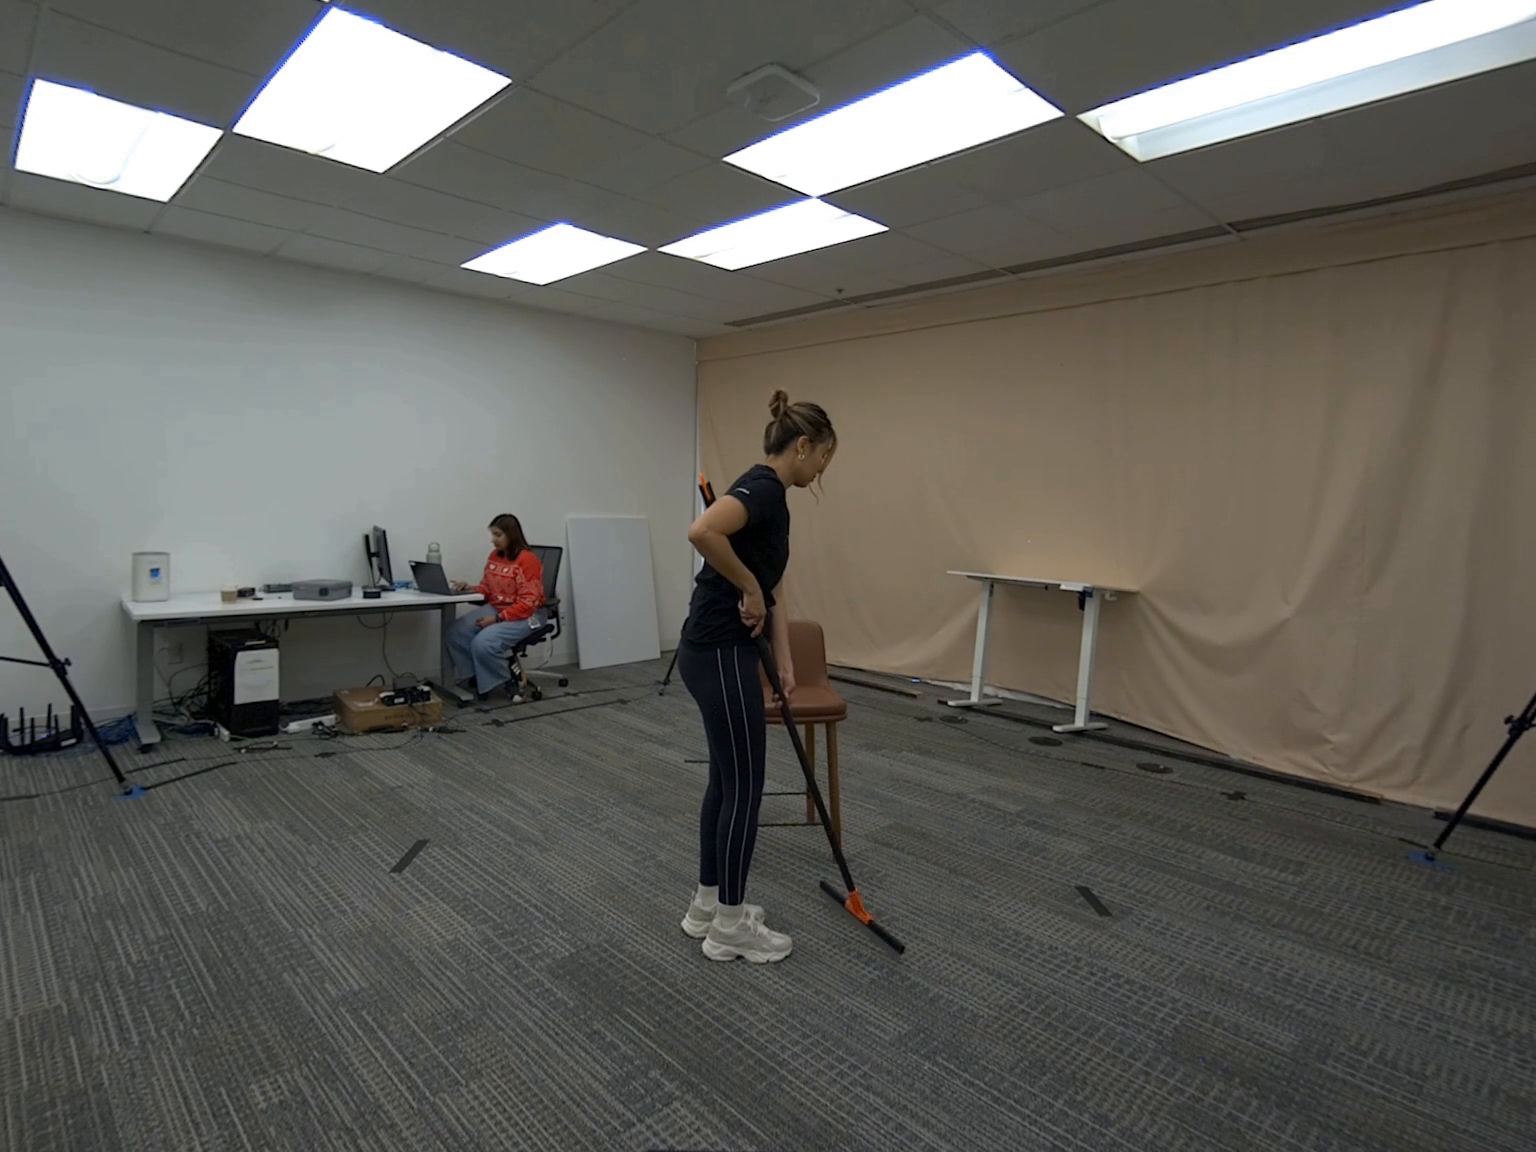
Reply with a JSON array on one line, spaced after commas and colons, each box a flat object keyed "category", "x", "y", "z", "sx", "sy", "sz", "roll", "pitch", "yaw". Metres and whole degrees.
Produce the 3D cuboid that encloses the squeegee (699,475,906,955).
[{"category": "squeegee", "x": 0.091, "y": 0.426, "z": 2.470, "sx": 0.052, "sy": 1.512, "sz": 0.448, "roll": -26, "pitch": 19, "yaw": -21}]
